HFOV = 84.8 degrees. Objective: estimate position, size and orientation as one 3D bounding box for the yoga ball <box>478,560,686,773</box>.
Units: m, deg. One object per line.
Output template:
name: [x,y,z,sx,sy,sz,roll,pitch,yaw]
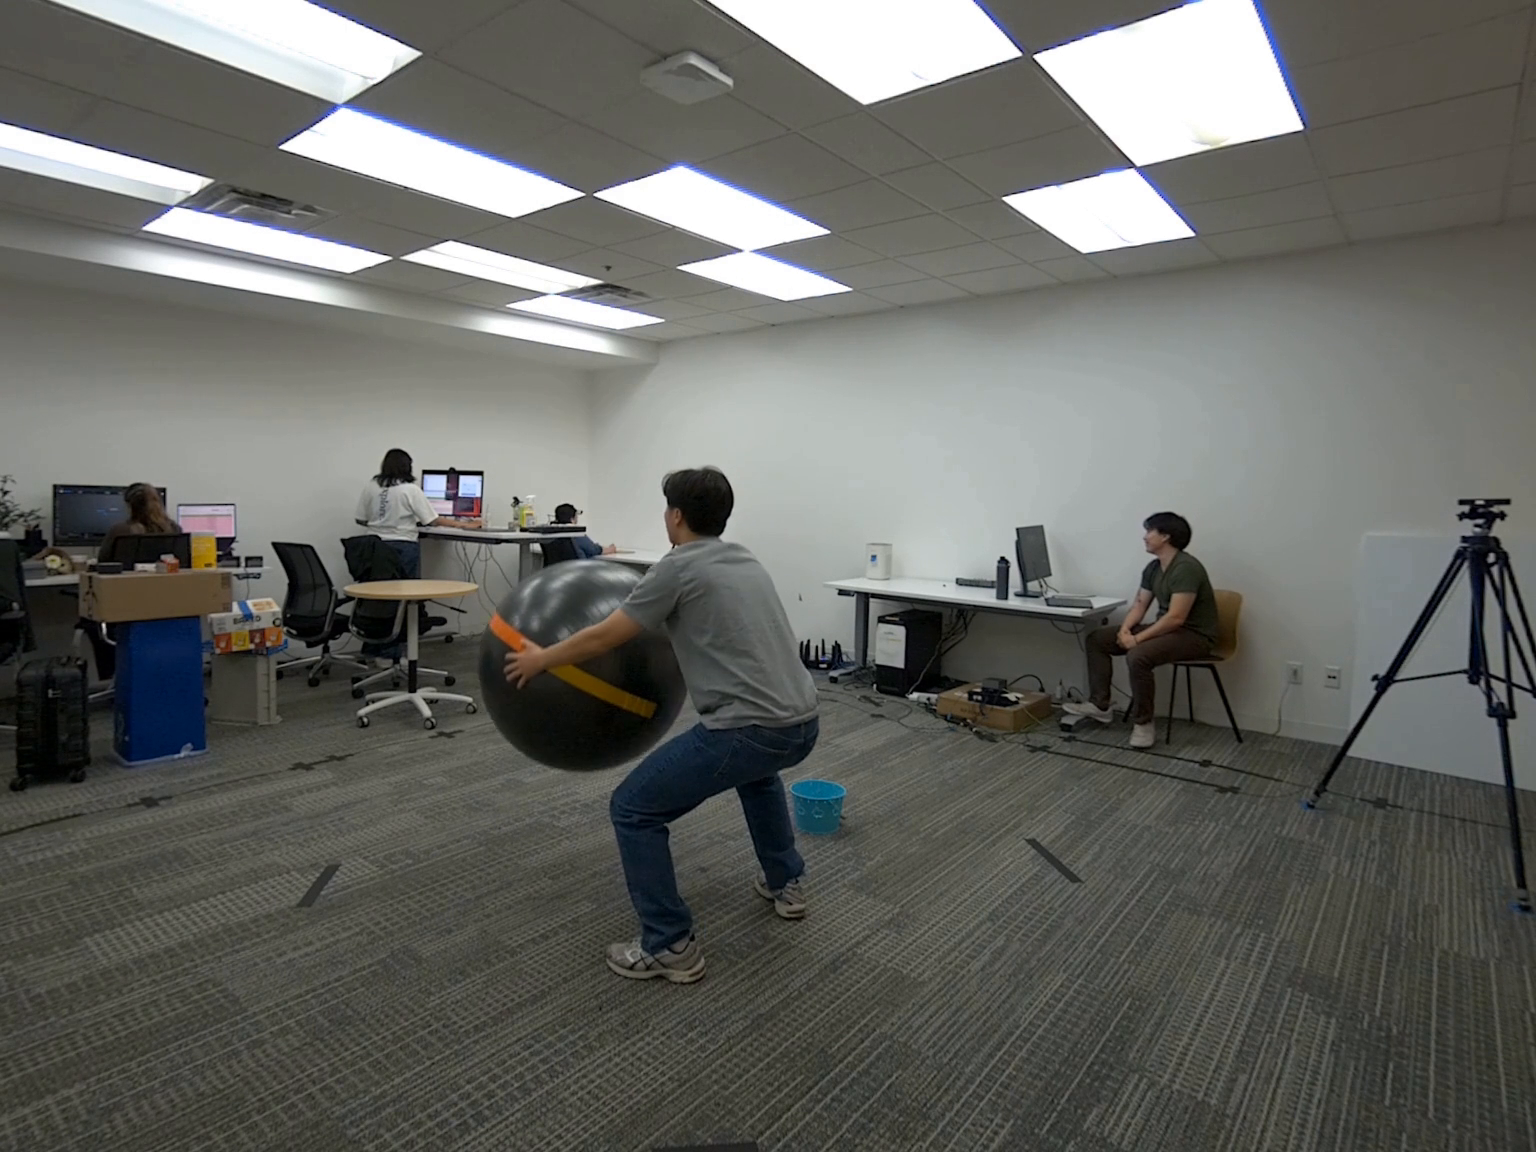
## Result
yoga ball: [-0.668,0.309,3.087,0.757,0.755,0.762,1,4,-2]
